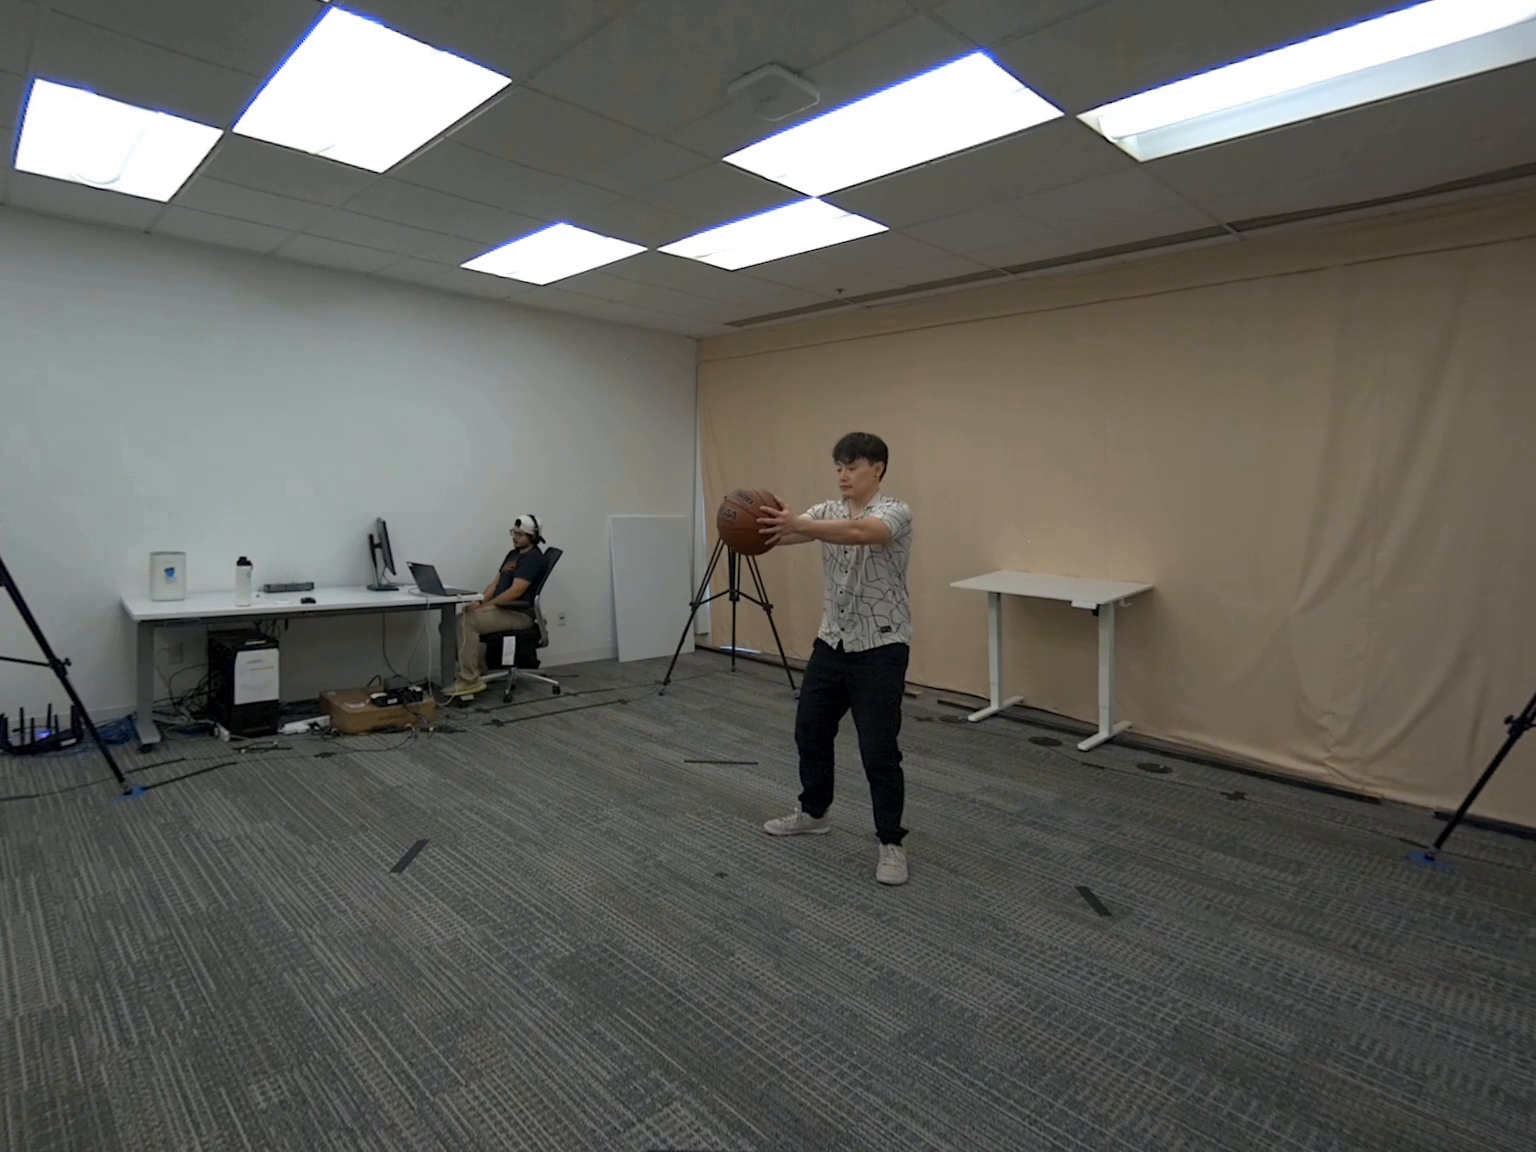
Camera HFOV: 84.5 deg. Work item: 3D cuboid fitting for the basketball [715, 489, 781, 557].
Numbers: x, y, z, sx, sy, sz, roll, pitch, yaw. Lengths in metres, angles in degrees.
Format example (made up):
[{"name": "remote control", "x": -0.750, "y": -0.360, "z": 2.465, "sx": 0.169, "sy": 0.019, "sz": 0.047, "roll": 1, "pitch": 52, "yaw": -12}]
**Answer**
[{"name": "basketball", "x": -0.066, "y": -0.190, "z": 2.917, "sx": 0.236, "sy": 0.235, "sz": 0.237, "roll": 1, "pitch": 4, "yaw": -1}]
